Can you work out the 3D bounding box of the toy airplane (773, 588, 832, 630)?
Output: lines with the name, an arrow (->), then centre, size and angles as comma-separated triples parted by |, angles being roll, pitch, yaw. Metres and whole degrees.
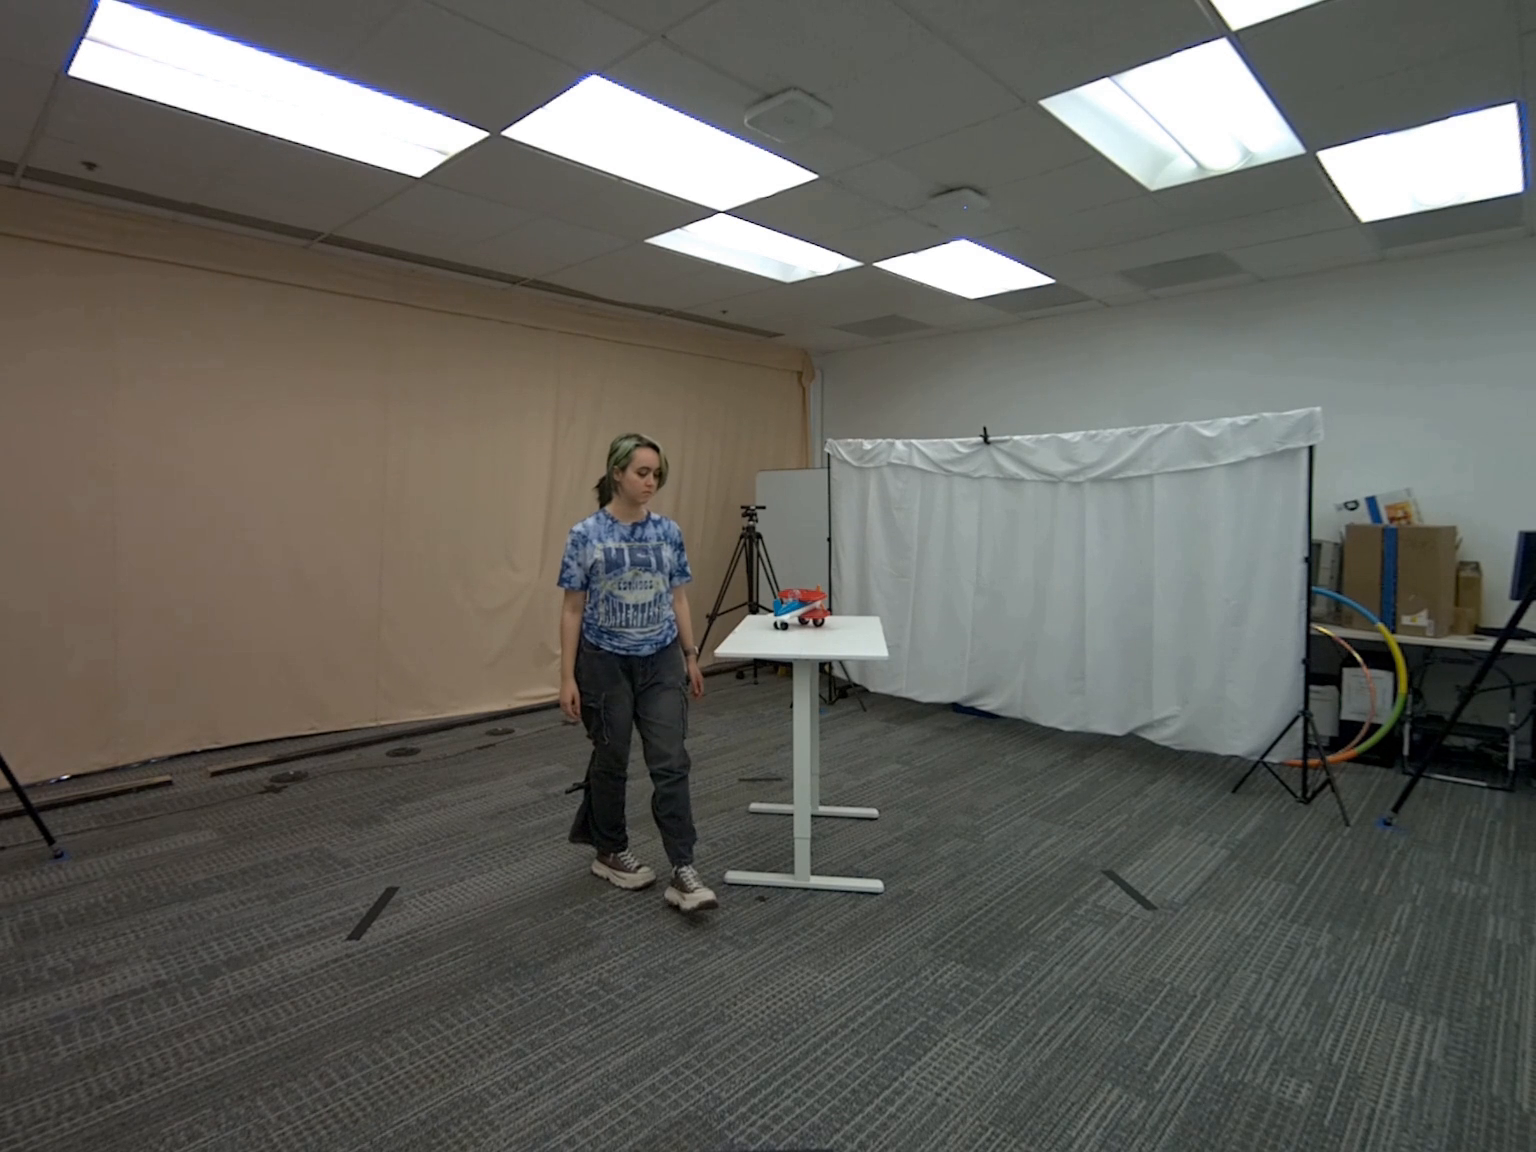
toy airplane -> 0.141, 0.142, 3.514 | 0.257, 0.156, 0.254 | 0, 4, 21
